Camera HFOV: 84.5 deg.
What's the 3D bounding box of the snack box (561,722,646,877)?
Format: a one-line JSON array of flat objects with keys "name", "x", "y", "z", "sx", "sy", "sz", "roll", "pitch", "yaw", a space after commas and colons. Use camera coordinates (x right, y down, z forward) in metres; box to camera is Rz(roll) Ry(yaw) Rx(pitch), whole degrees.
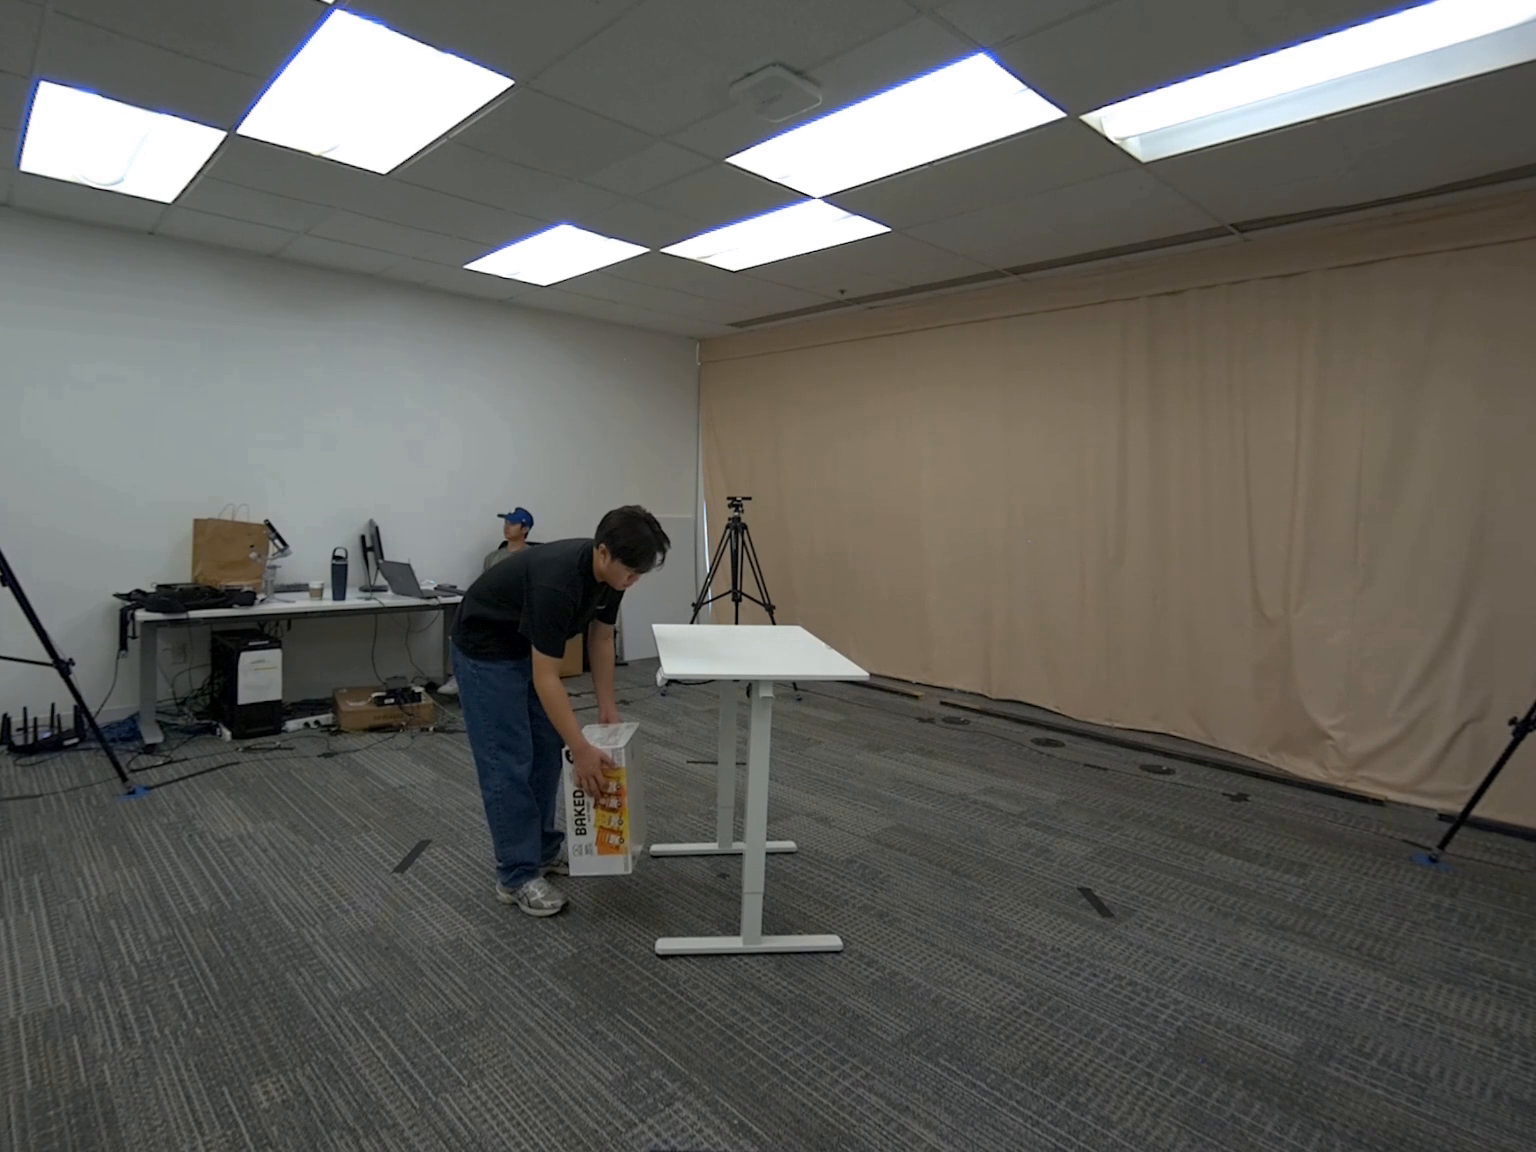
[{"name": "snack box", "x": -0.547, "y": 0.738, "z": 2.832, "sx": 0.206, "sy": 0.405, "sz": 0.339, "roll": -2, "pitch": 1, "yaw": 2}]
